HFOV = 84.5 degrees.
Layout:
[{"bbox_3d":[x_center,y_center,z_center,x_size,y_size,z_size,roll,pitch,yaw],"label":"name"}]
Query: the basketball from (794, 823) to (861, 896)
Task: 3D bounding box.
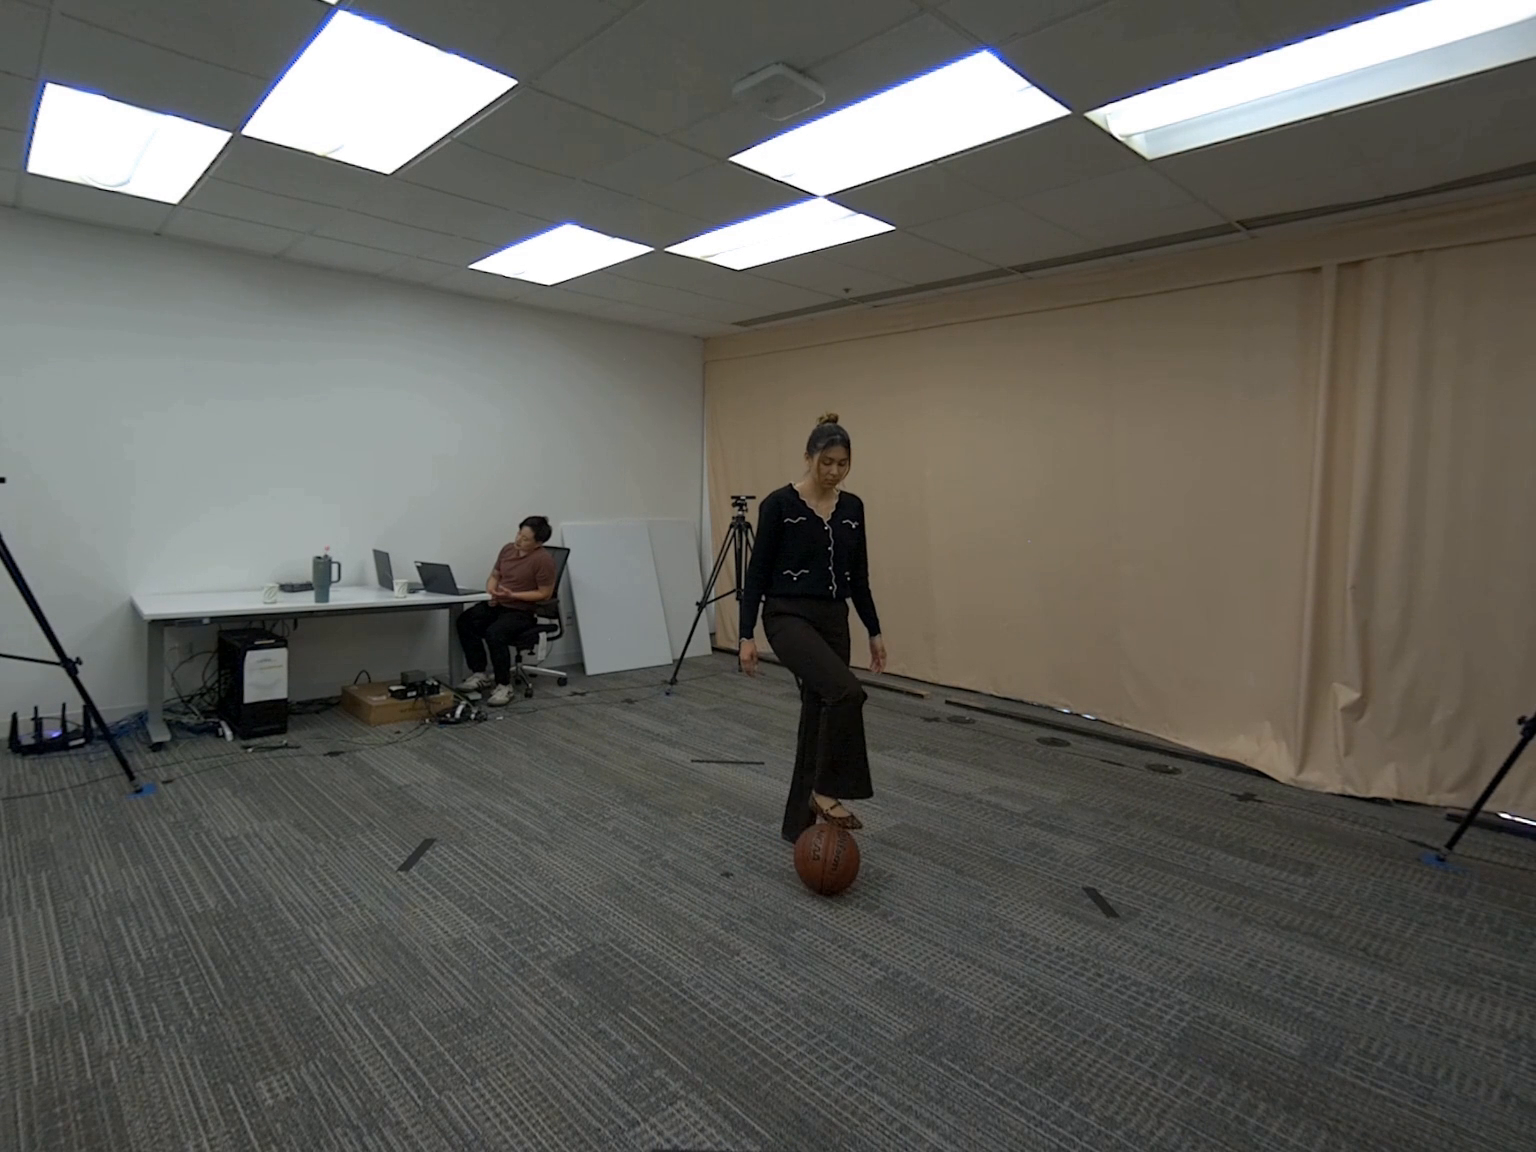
[{"bbox_3d":[0.195,1.001,2.977,0.236,0.235,0.237,1,4,-1],"label":"basketball"}]
